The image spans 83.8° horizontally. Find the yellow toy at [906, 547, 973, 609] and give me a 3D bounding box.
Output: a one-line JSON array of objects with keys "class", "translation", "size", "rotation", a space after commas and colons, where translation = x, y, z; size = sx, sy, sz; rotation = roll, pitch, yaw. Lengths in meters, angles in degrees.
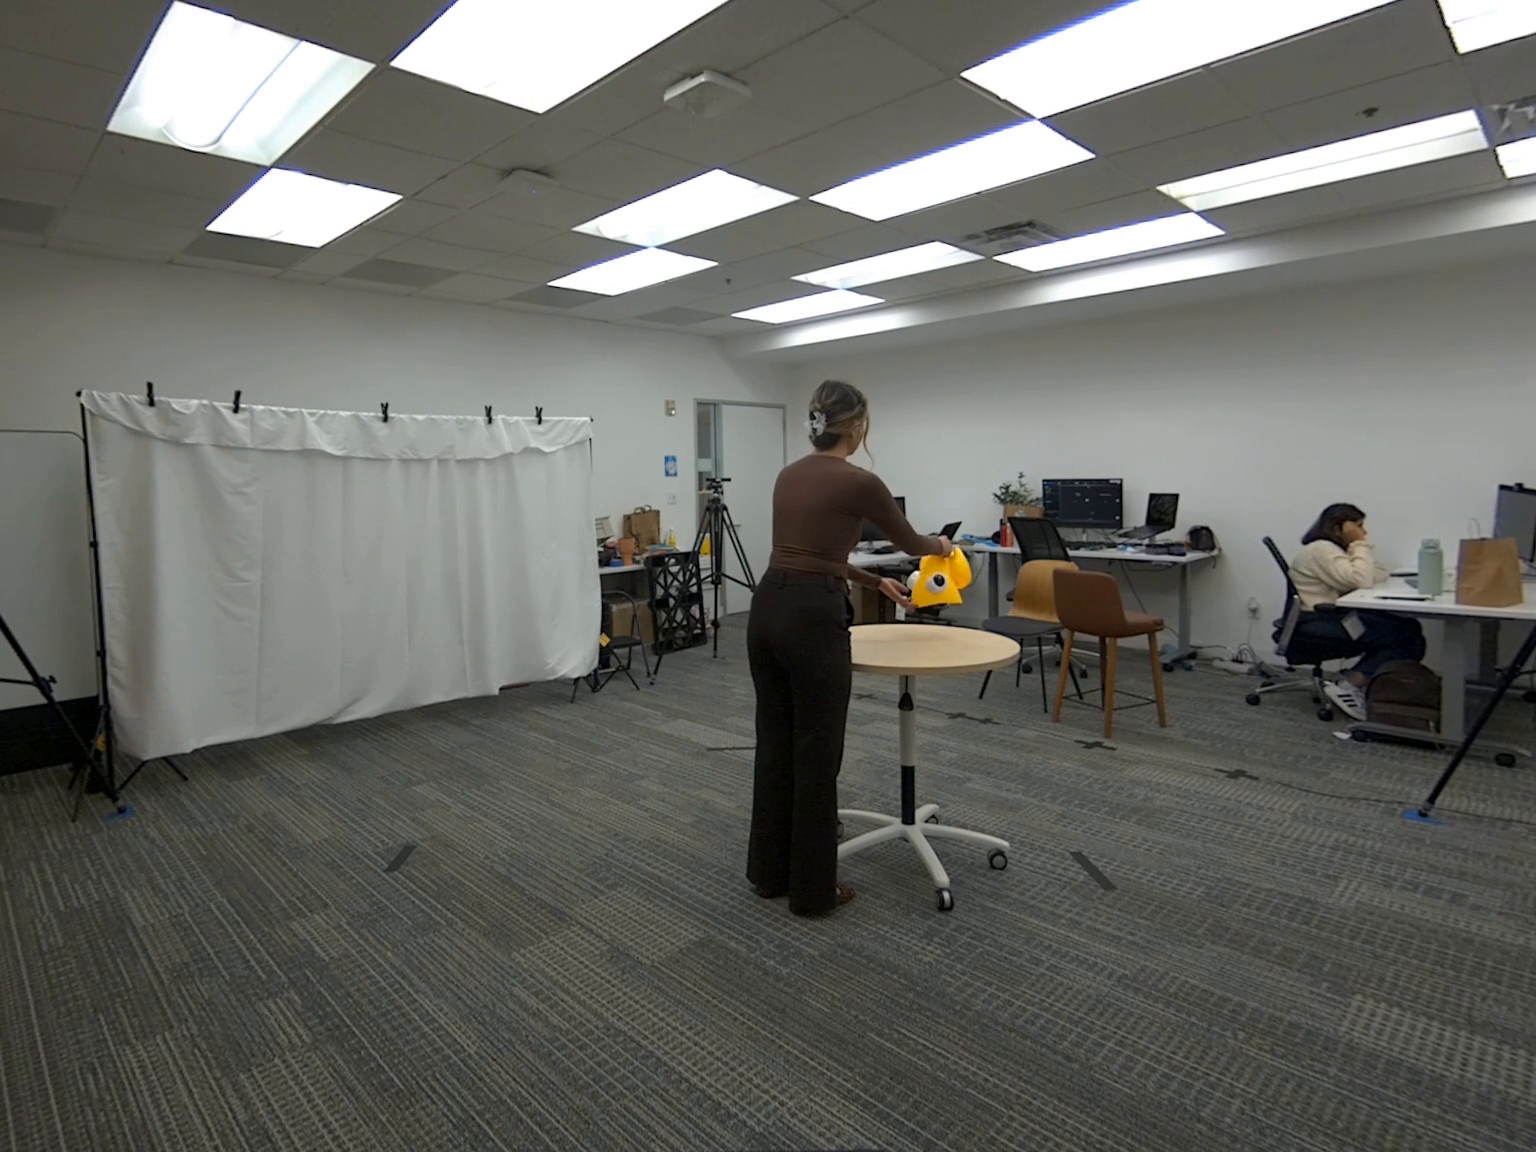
[{"class": "yellow toy", "translation": [0.591, 0.019, 3.127], "size": [0.227, 0.190, 0.211], "rotation": [-24, 18, -31]}]
